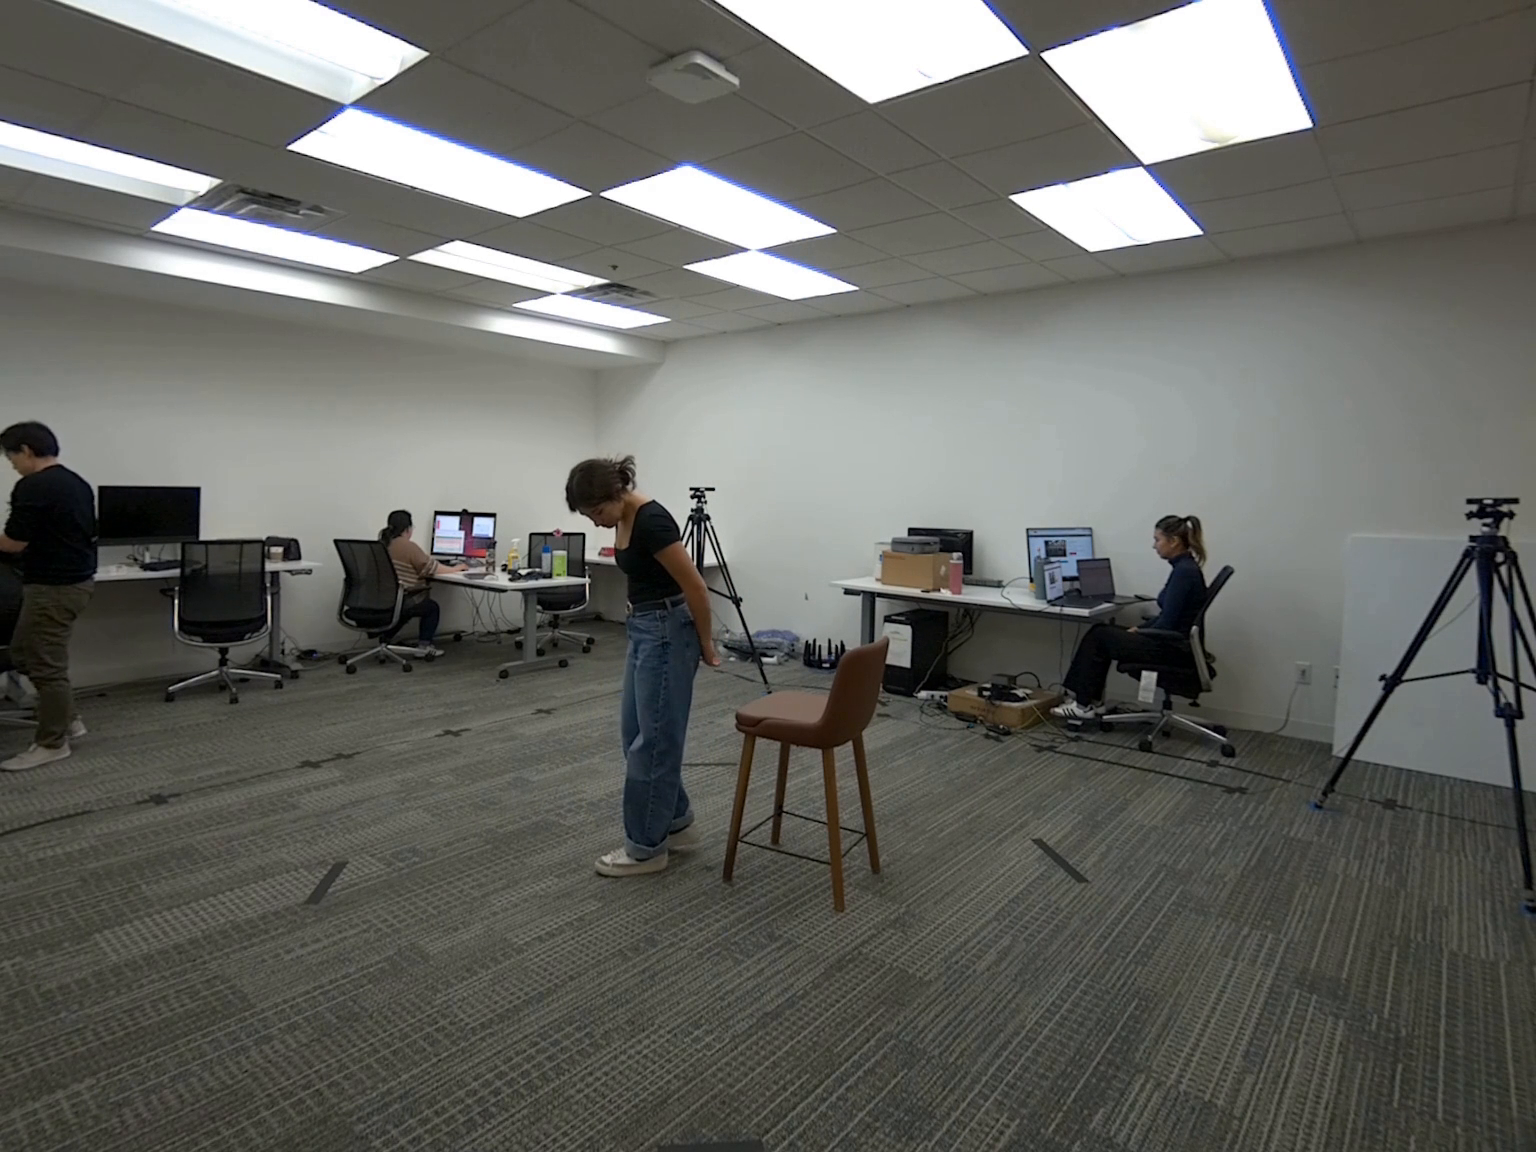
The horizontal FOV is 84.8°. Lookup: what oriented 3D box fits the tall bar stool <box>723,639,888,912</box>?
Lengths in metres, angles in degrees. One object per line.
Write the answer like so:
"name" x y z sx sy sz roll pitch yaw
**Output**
"tall bar stool" 0.136 0.646 3.049 0.482 0.887 0.444 5 4 29
